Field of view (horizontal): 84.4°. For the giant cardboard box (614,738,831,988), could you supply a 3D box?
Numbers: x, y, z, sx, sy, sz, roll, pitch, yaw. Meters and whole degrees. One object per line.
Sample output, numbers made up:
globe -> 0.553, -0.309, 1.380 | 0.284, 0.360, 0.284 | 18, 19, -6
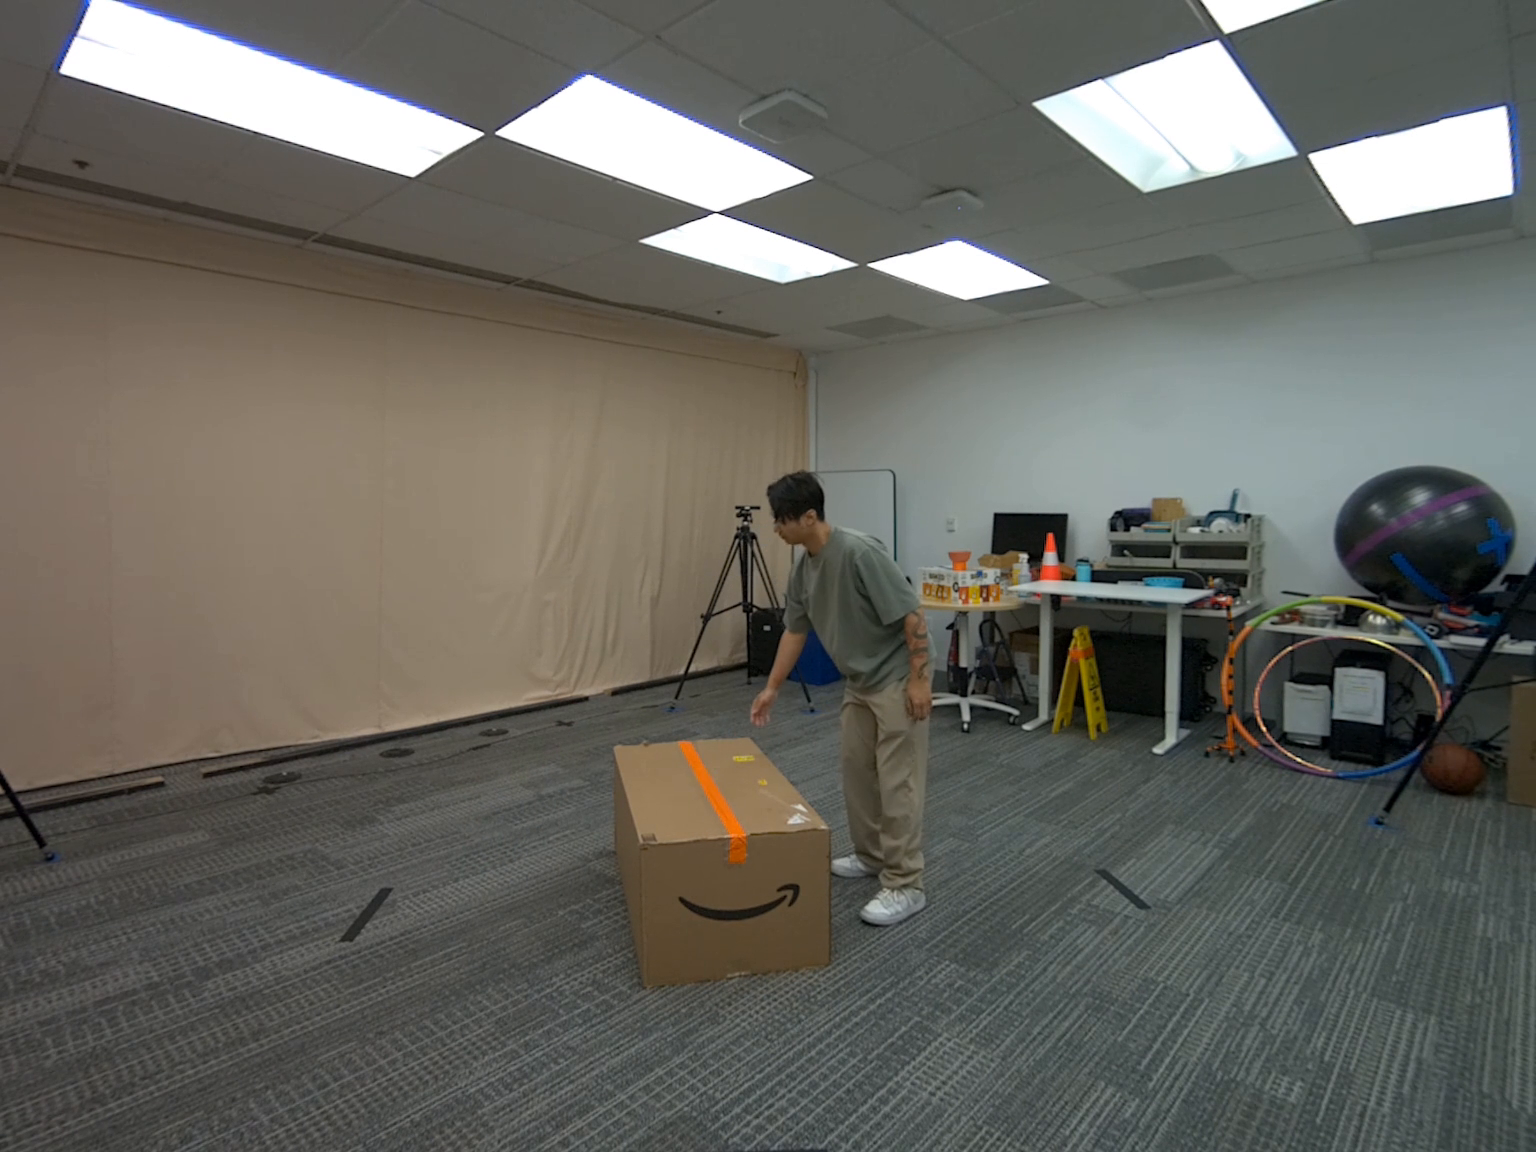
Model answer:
giant cardboard box -> -0.217, 0.931, 2.974 | 0.569, 0.425, 1.043 | -1, 4, -14
